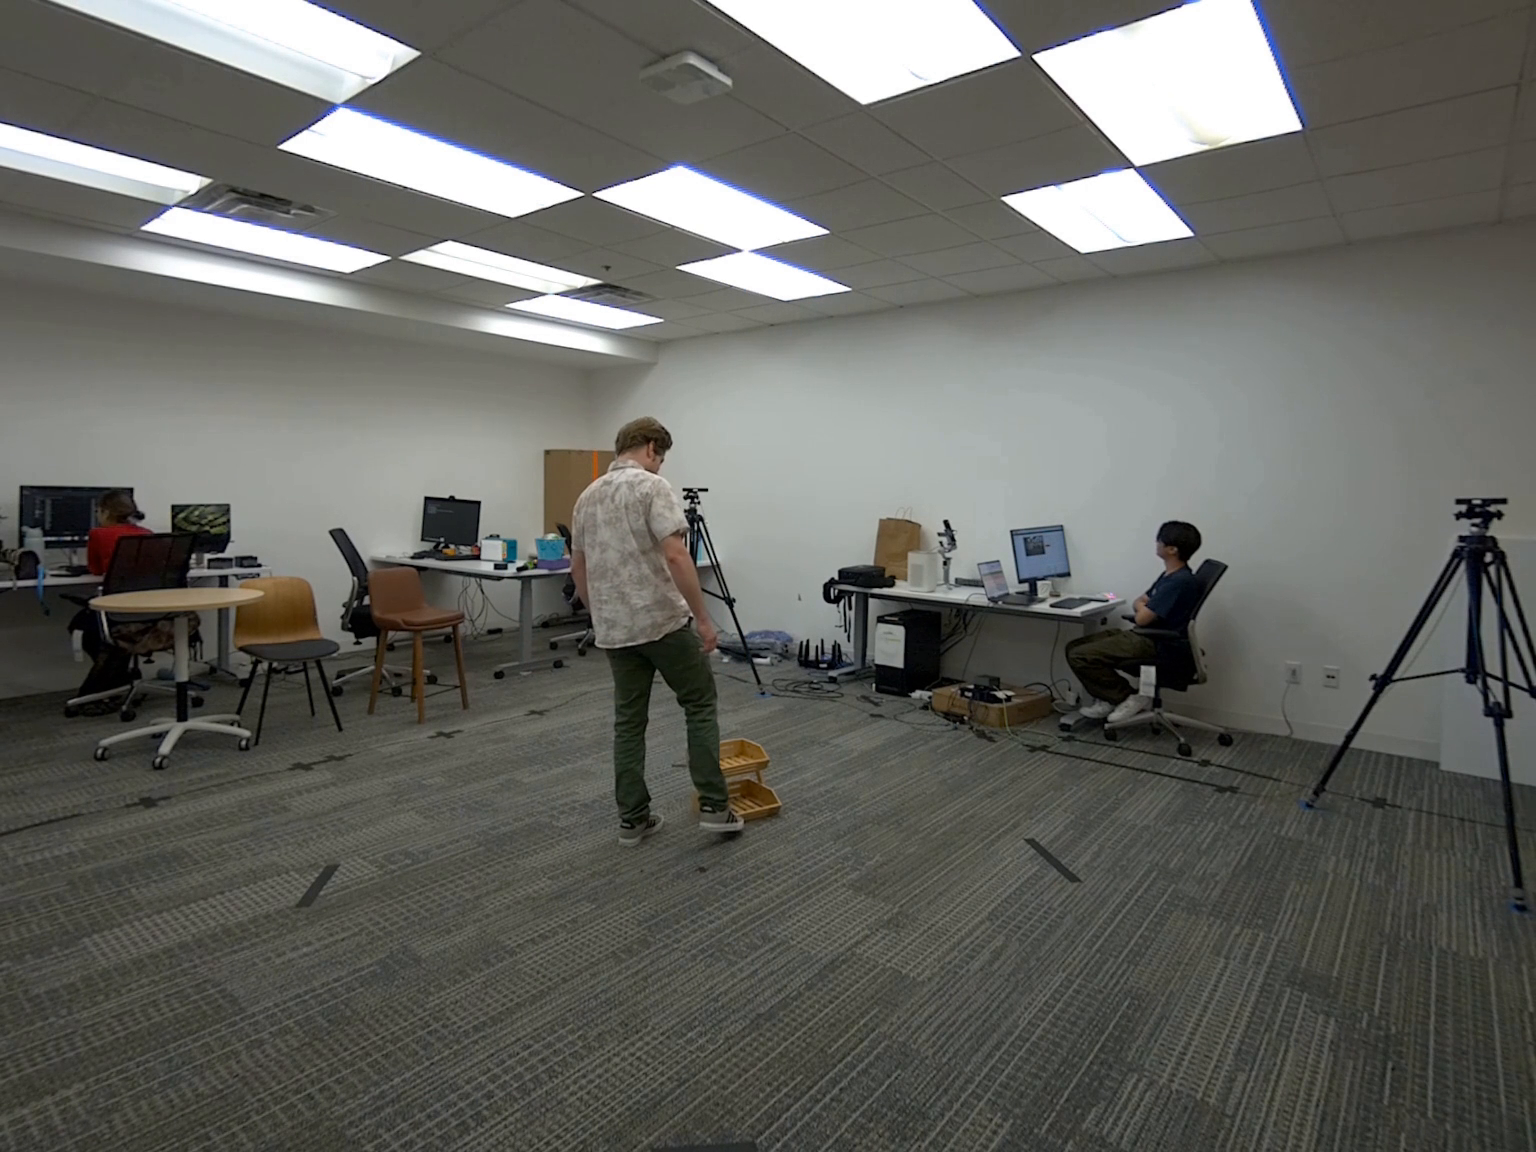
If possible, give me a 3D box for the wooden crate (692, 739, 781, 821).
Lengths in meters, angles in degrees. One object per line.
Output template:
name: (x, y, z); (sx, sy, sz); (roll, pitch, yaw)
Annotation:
wooden crate: (-0.159, 0.878, 3.686); (0.315, 0.272, 0.312); (-2, 5, -36)
